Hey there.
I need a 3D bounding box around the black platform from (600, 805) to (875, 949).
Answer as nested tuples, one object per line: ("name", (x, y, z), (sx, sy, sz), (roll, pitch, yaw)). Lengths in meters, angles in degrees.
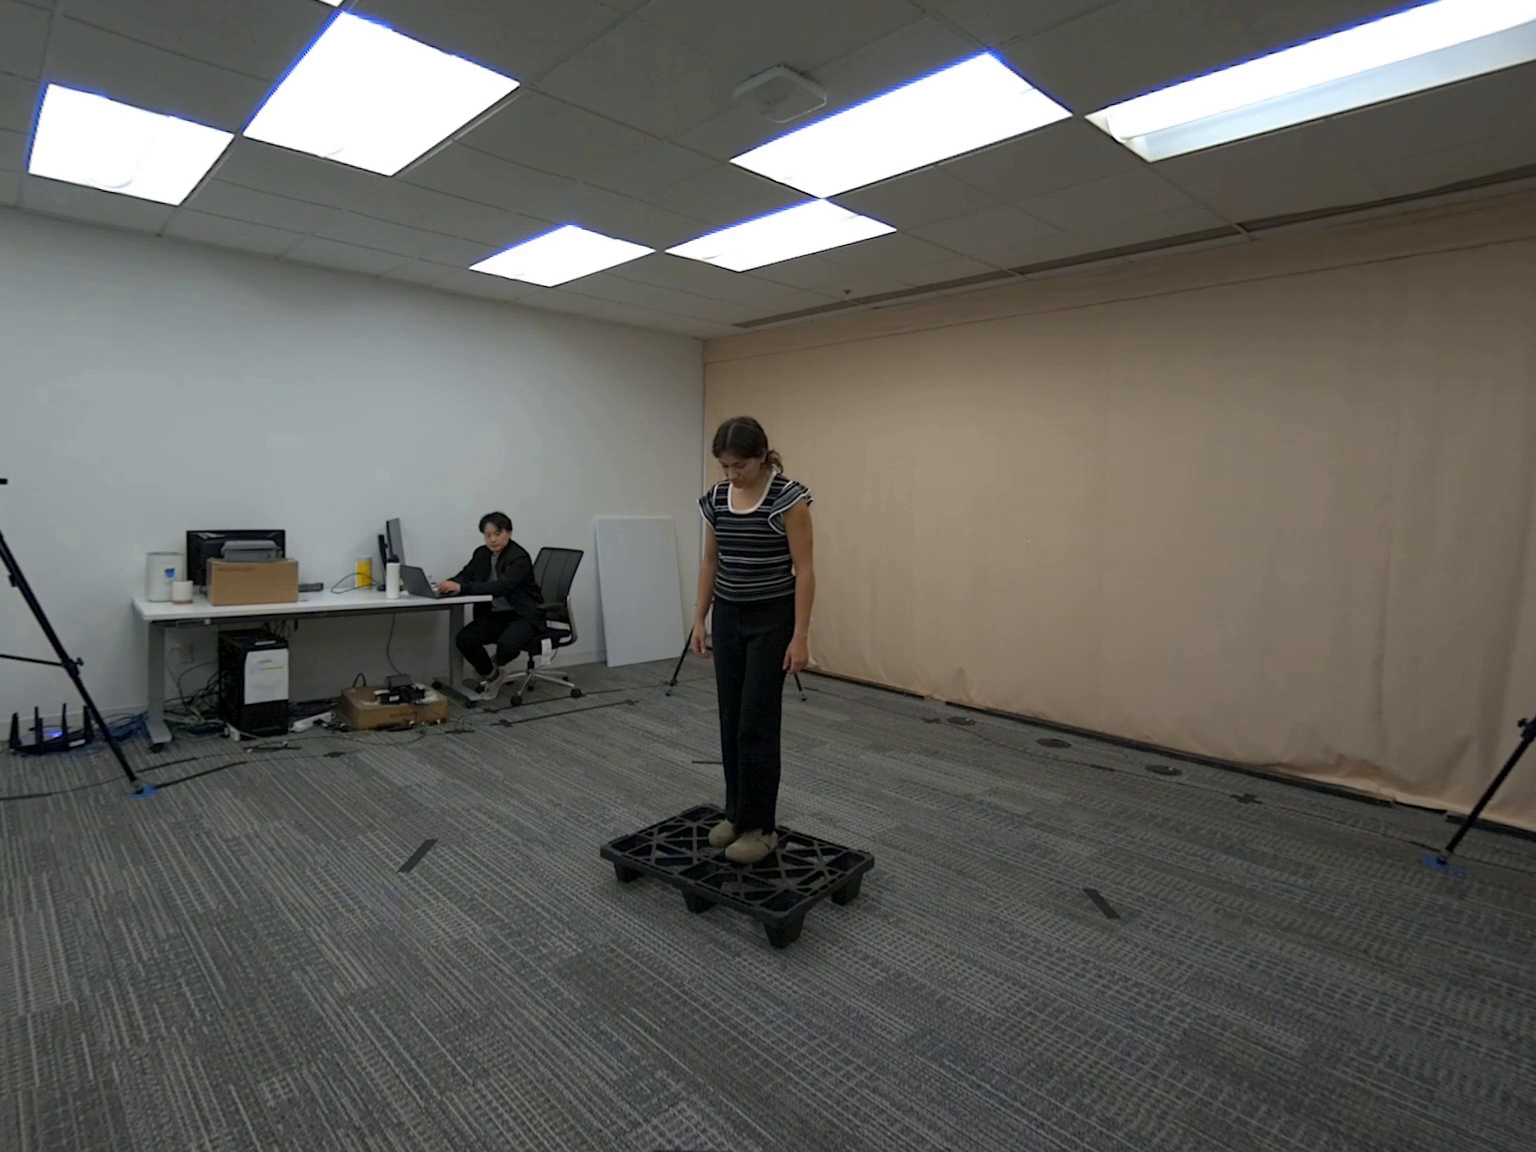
("black platform", (-0.120, 1.048, 3.002), (0.825, 0.143, 0.592), (5, 7, 37))
